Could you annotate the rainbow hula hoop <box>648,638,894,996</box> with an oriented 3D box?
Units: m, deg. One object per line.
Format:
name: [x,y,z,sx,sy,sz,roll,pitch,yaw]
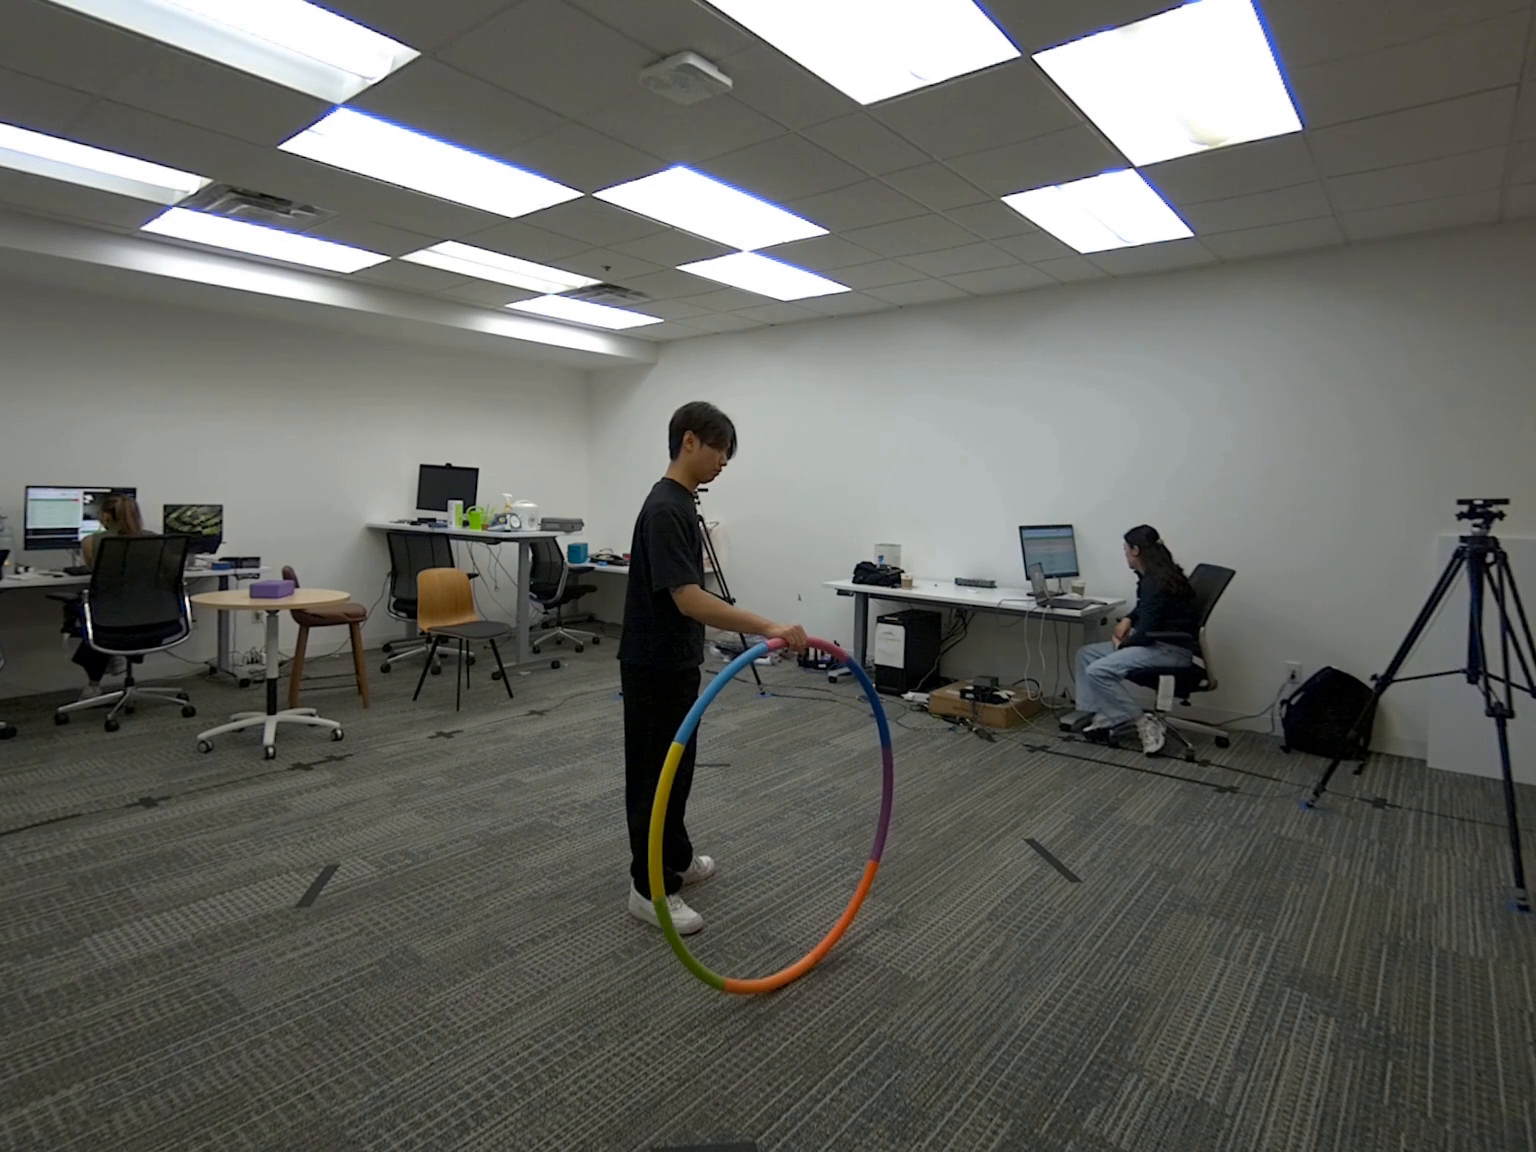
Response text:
rainbow hula hoop: [0.047,0.659,2.404,0.949,0.977,0.037,-3,2,-44]
